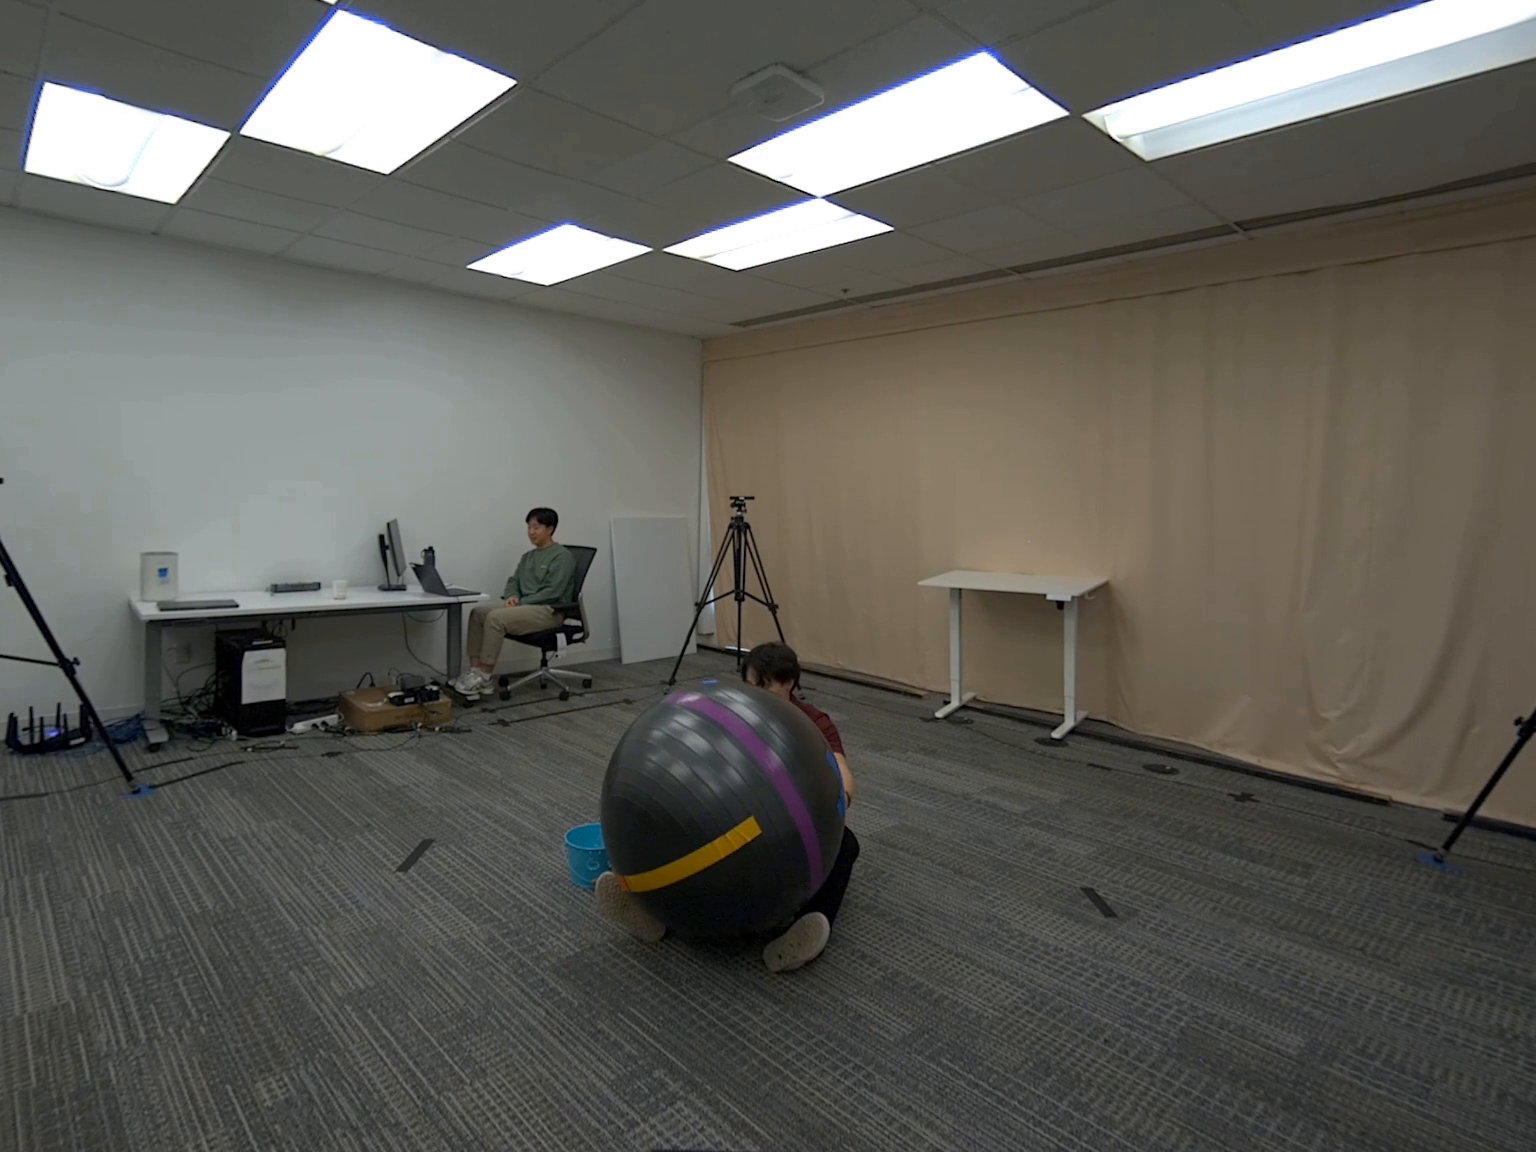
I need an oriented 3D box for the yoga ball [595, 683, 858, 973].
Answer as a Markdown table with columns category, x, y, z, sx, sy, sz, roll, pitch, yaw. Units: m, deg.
| category | x | y | z | sx | sy | sz | roll | pitch | yaw |
| --- | --- | --- | --- | --- | --- | --- | --- | --- | --- |
| yoga ball | -0.147 | 0.699 | 2.612 | 0.757 | 0.756 | 0.761 | 1 | 4 | -1 |
